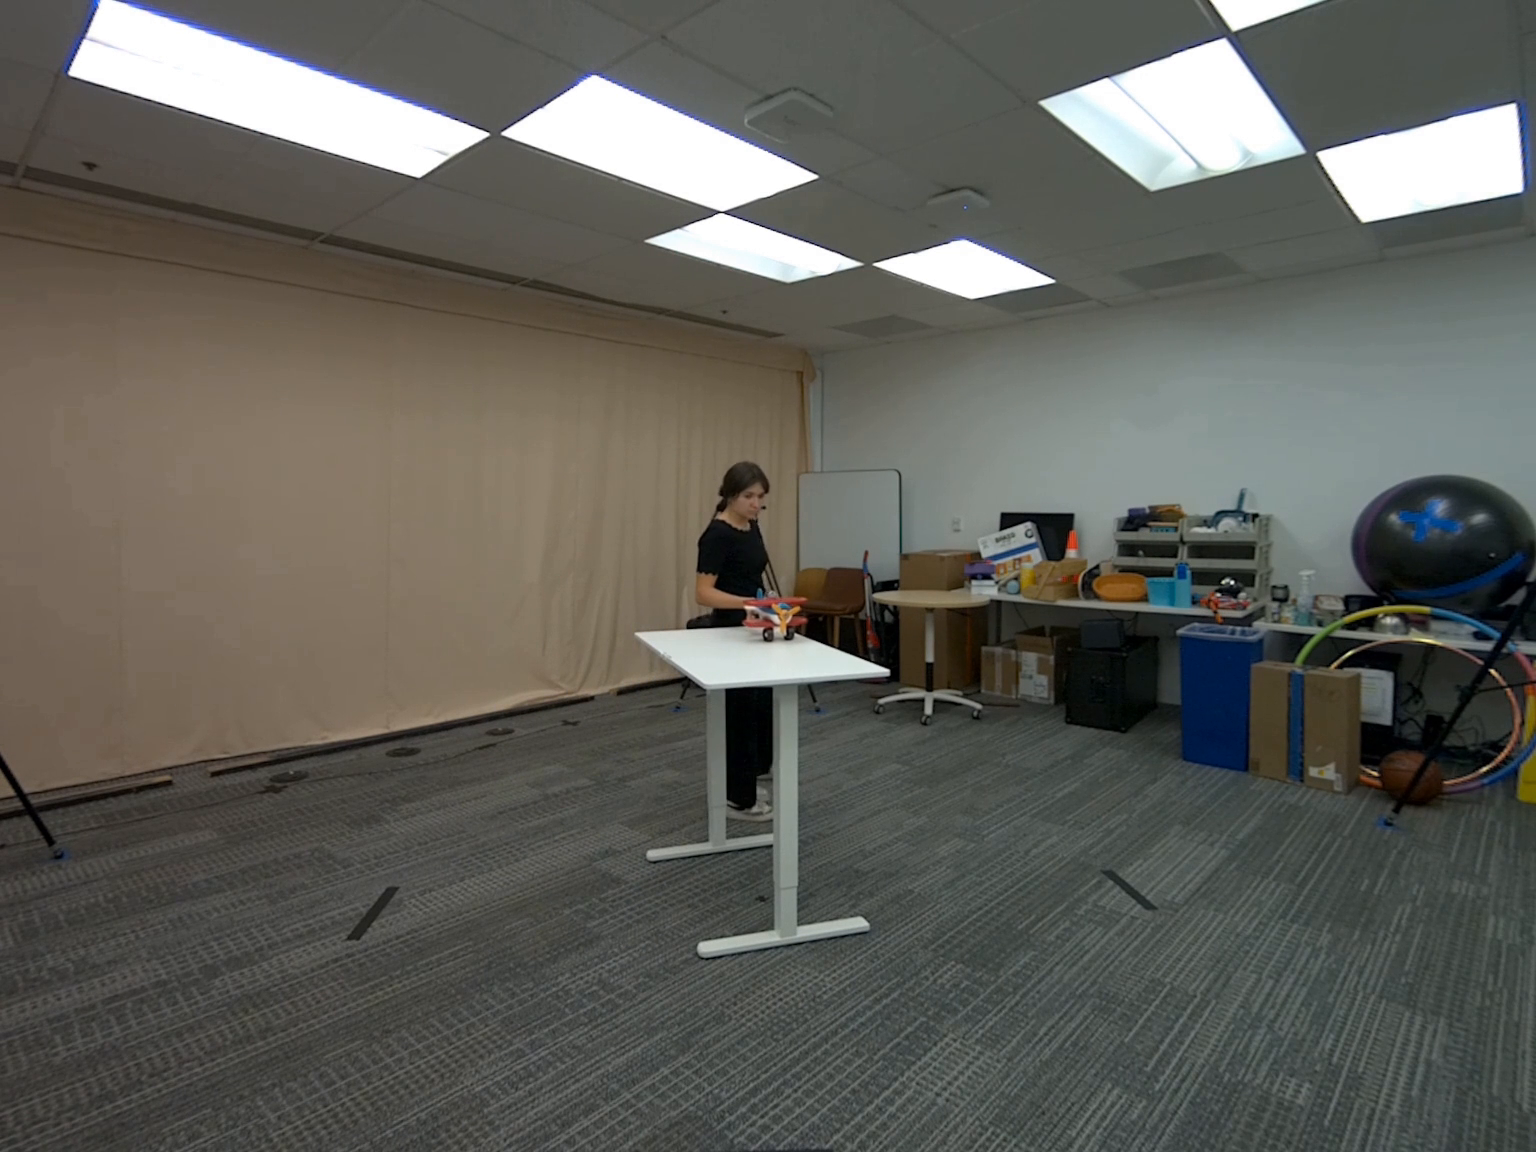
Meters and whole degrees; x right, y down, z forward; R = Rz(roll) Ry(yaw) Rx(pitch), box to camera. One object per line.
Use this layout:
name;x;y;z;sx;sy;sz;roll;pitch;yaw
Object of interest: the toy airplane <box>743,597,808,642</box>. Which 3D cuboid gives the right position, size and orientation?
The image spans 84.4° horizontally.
toy airplane;0.002;0.143;3.212;0.268;0.155;0.244;21;24;36
